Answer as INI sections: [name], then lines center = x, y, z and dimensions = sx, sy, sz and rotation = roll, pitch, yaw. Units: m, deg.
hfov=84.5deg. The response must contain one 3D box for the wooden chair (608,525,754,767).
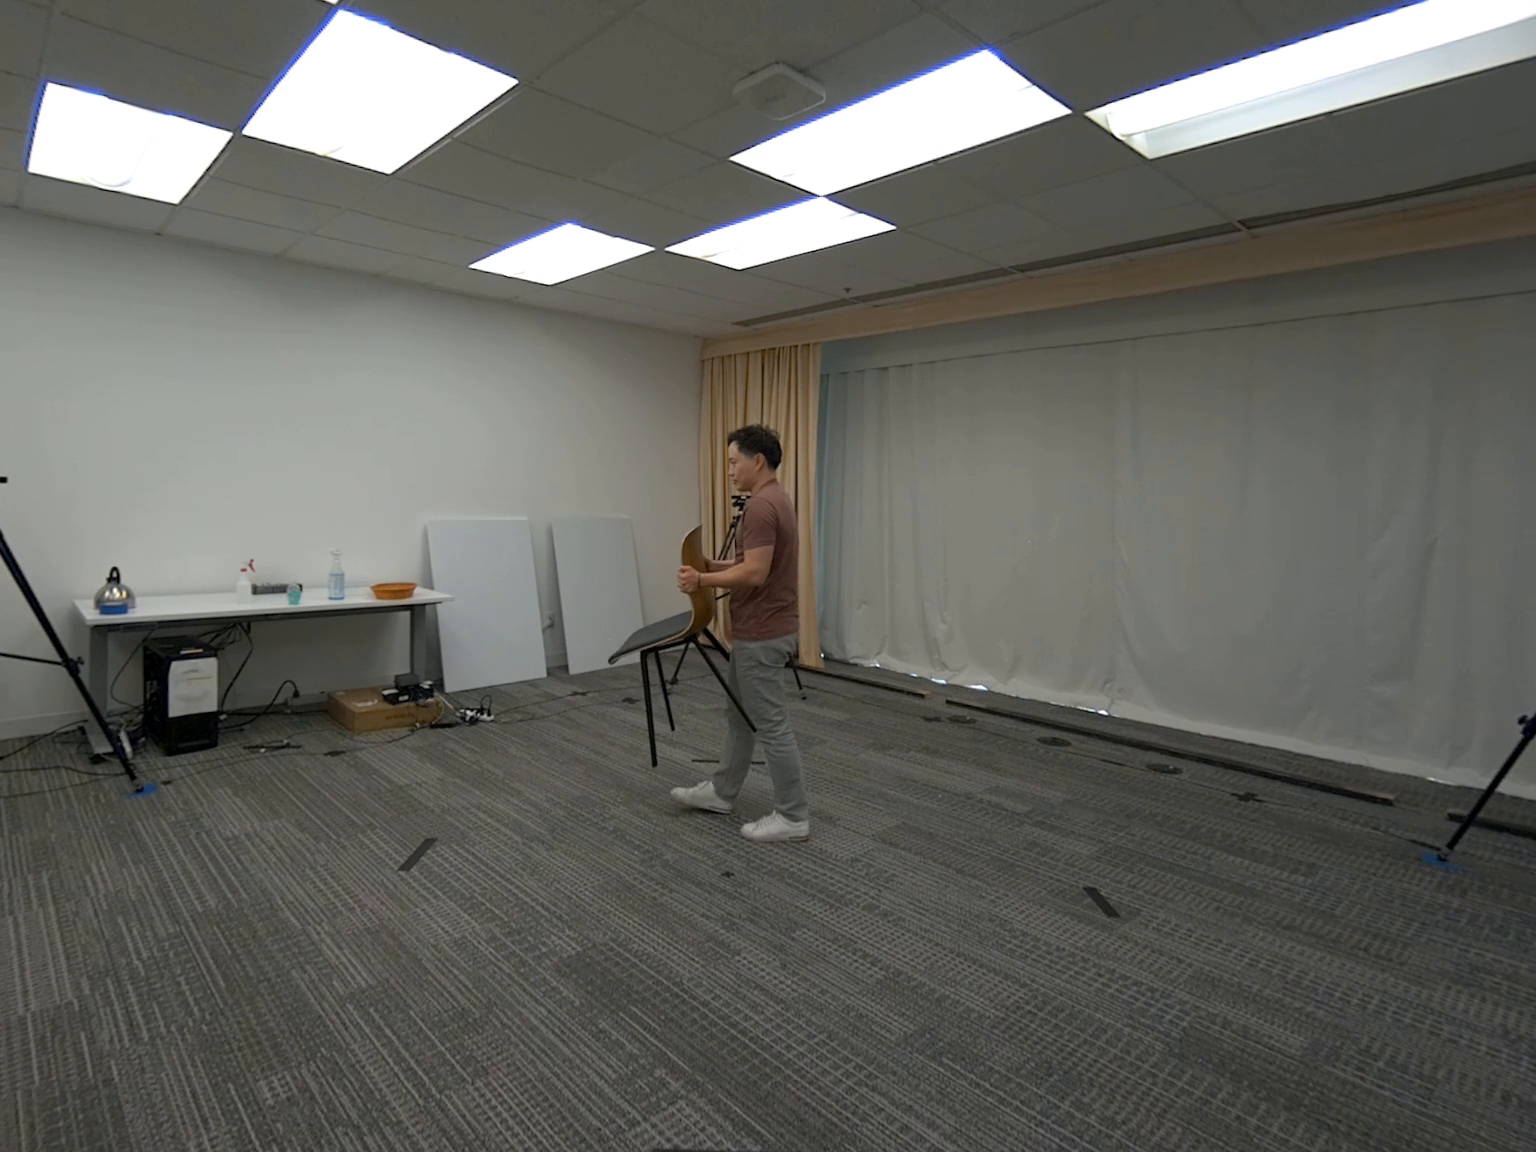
[wooden chair]
center = -0.405, 0.277, 3.545
dimensions = 0.525, 0.872, 0.479
rotation = -16, 7, 6
